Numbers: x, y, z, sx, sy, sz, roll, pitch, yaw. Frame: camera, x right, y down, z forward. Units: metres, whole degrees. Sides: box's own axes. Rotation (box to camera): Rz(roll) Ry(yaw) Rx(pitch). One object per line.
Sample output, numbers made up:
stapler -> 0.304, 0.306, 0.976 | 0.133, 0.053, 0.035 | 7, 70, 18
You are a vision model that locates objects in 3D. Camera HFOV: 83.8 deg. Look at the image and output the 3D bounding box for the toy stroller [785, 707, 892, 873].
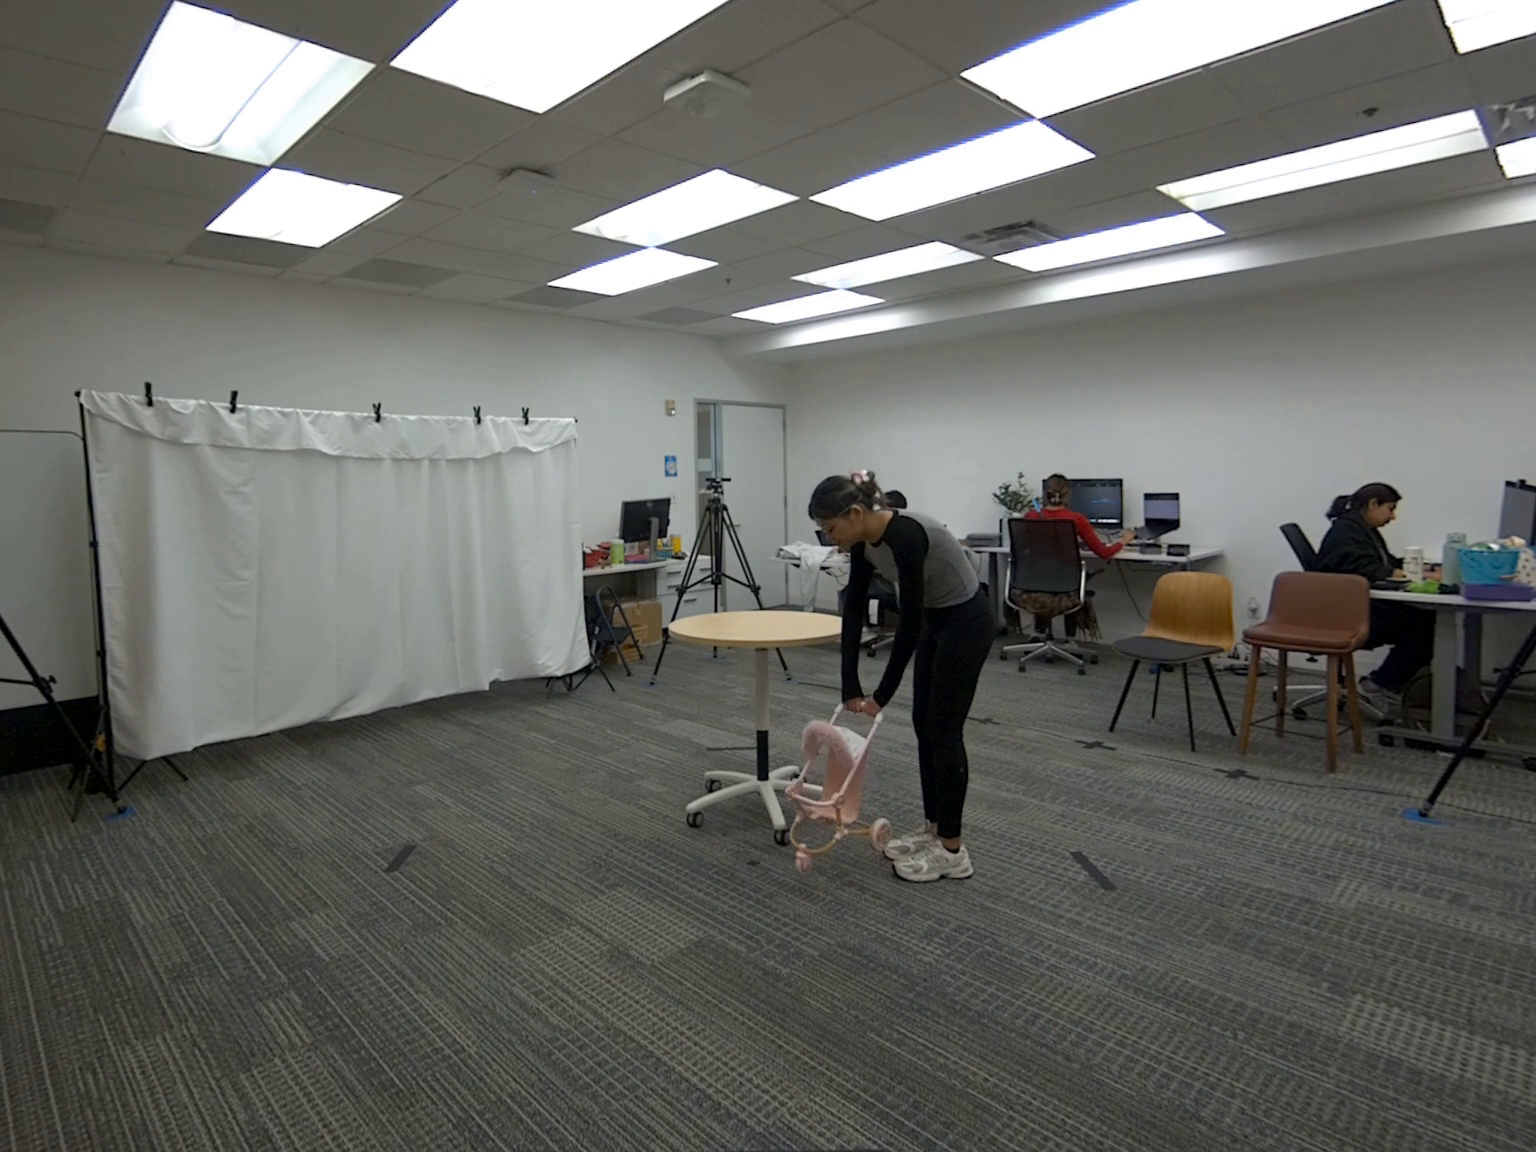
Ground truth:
toy stroller -> 0.219, 0.716, 2.906 | 0.332, 0.533, 0.290 | -1, 4, -38
